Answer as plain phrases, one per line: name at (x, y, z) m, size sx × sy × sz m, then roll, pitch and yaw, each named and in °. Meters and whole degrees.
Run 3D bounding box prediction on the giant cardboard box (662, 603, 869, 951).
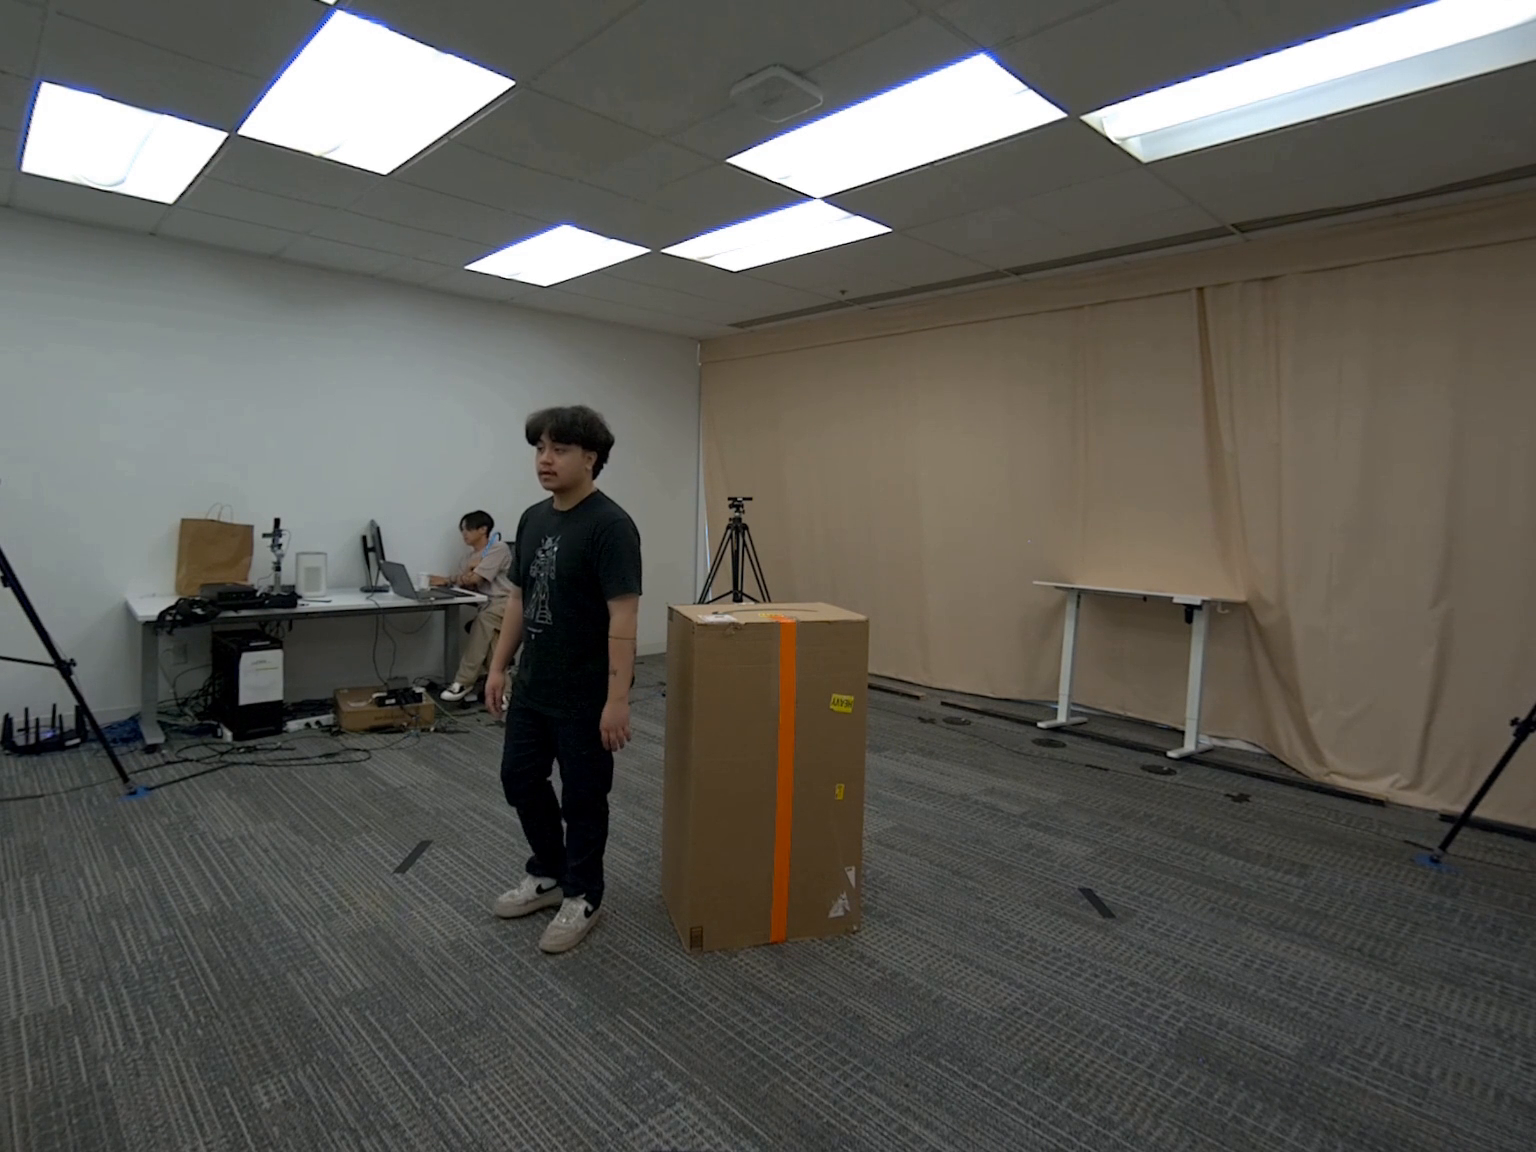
giant cardboard box at (-0.030, 0.624, 2.816) m, size 0.576 × 1.024 × 0.454 m, roll 0°, pitch 4°, yaw -17°
